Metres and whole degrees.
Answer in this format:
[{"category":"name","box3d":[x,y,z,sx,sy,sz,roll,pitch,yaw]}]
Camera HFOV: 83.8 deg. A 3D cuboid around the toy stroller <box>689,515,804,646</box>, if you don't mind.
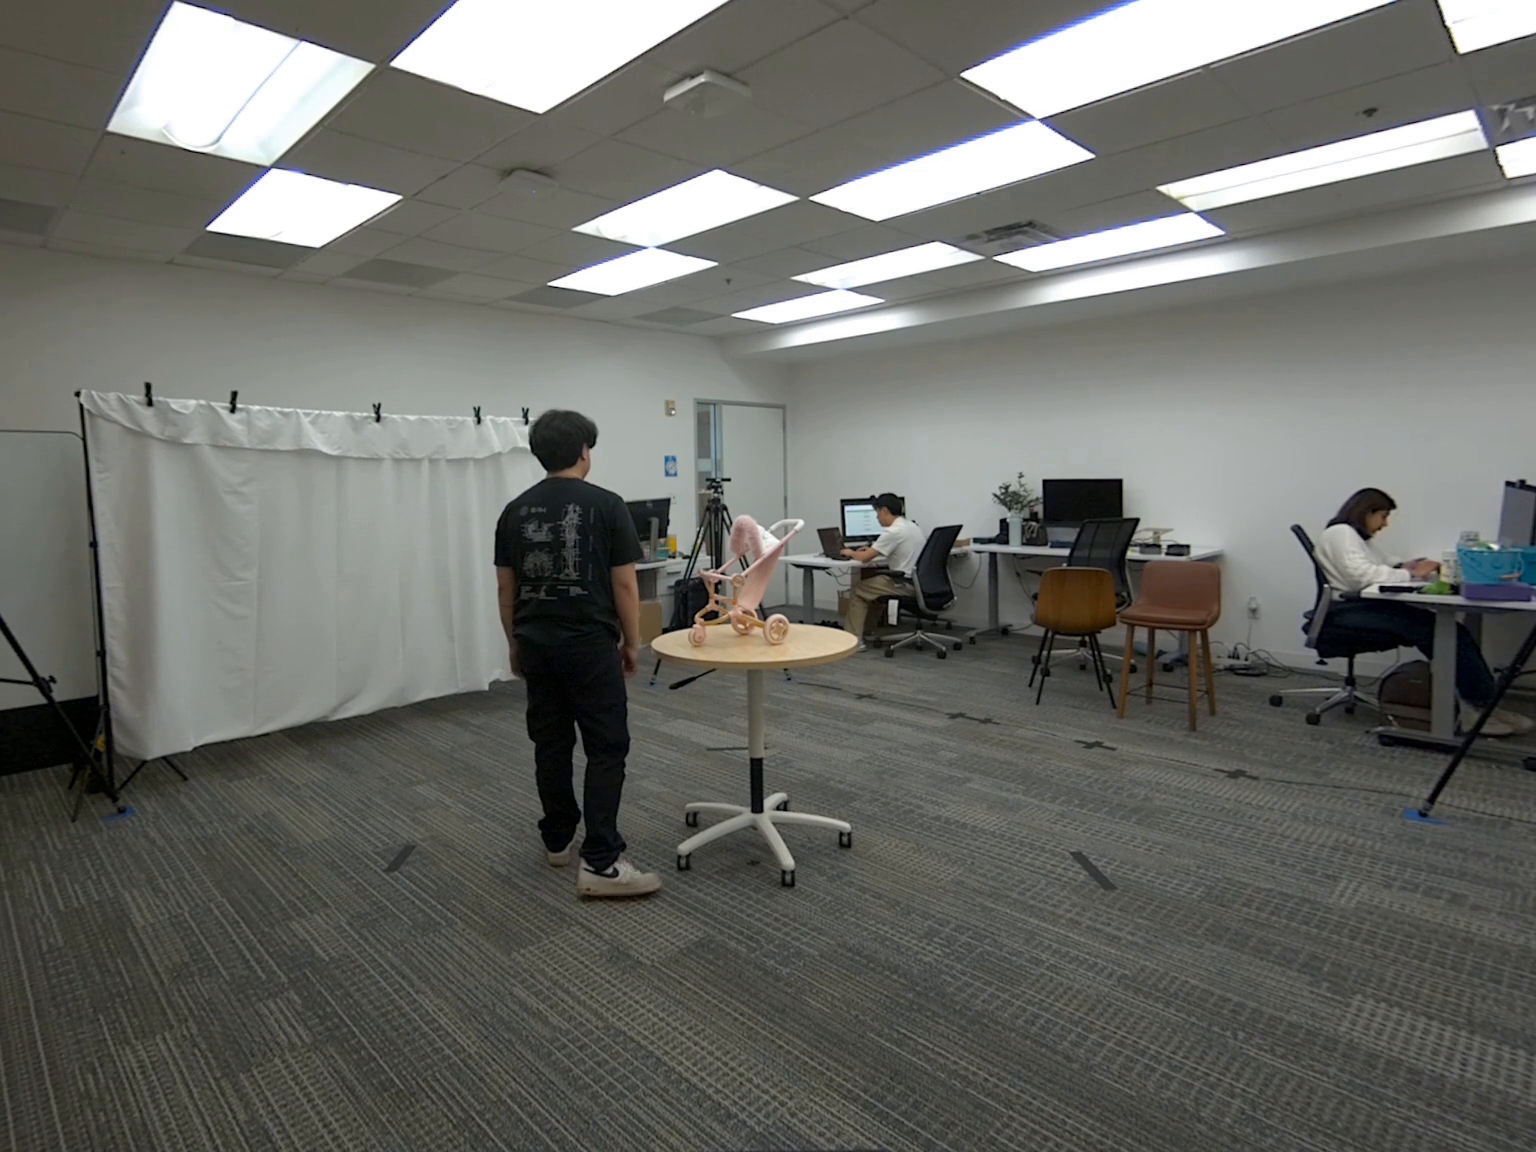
[{"category":"toy stroller","box3d":[-0.096,0.014,3.161,0.333,0.536,0.287,12,-2,-22]}]
